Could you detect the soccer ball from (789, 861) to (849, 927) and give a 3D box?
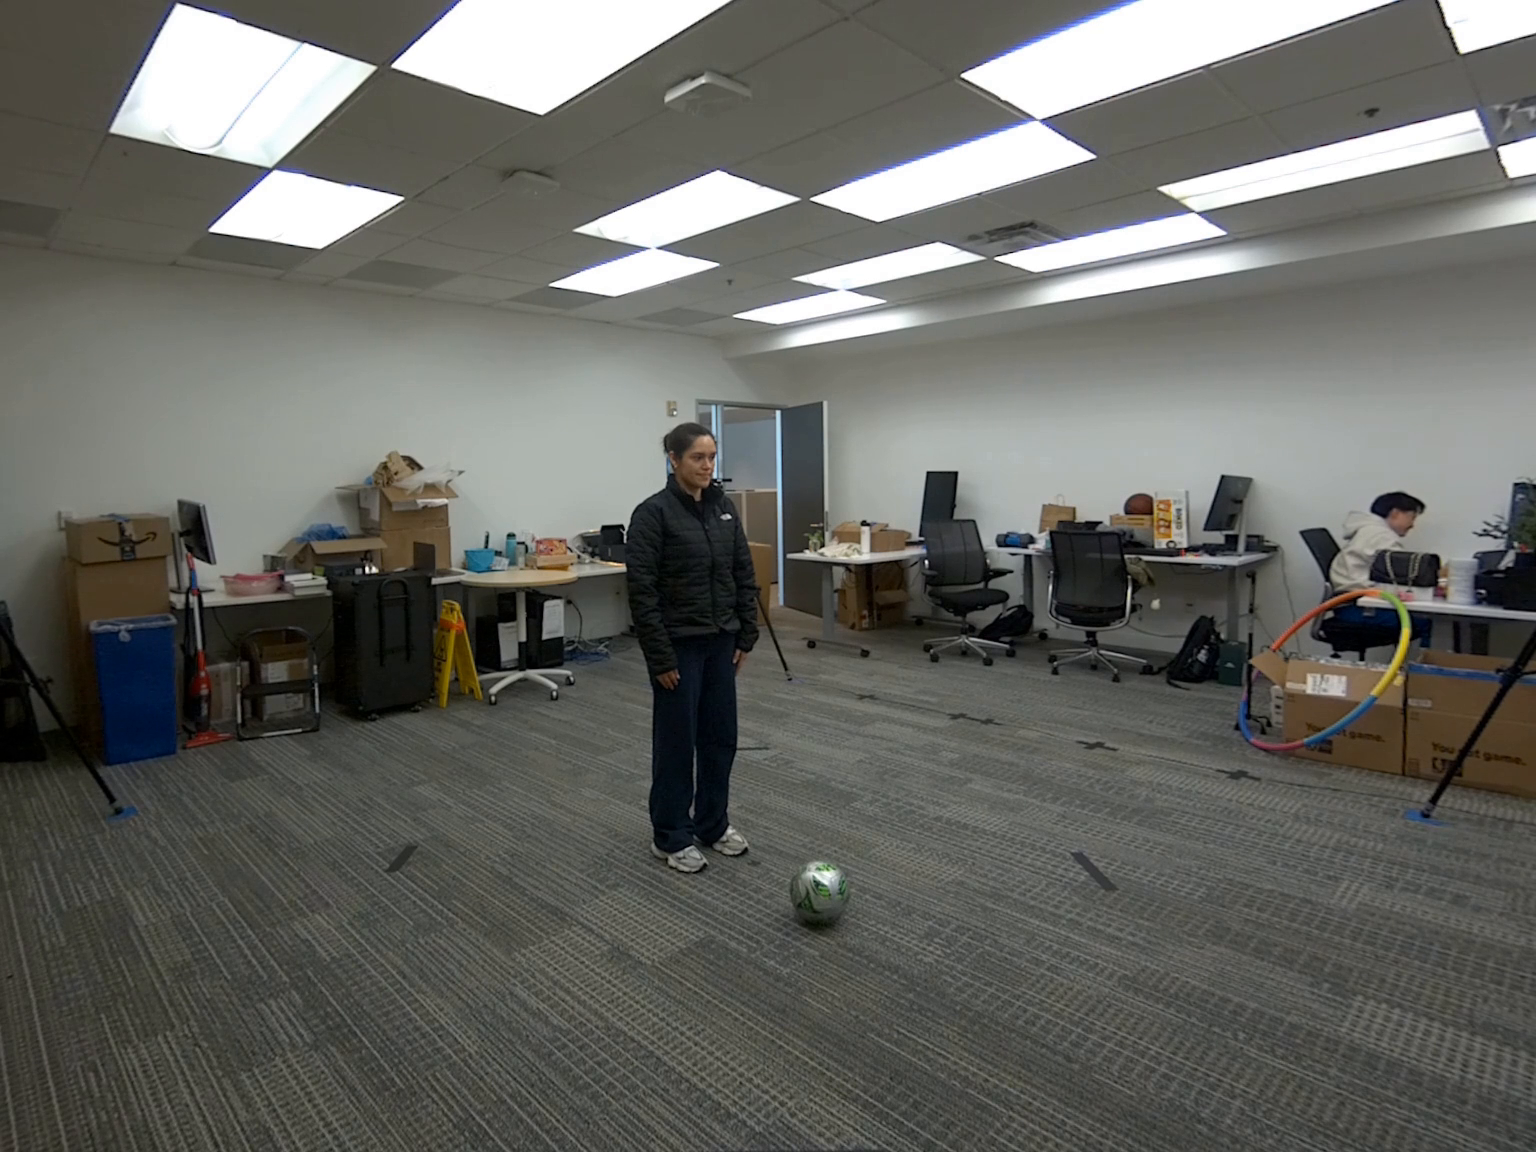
[{"bbox_3d":[0.167,0.996,2.690,0.187,0.187,0.188,-1,5,-2],"label":"soccer ball"}]
